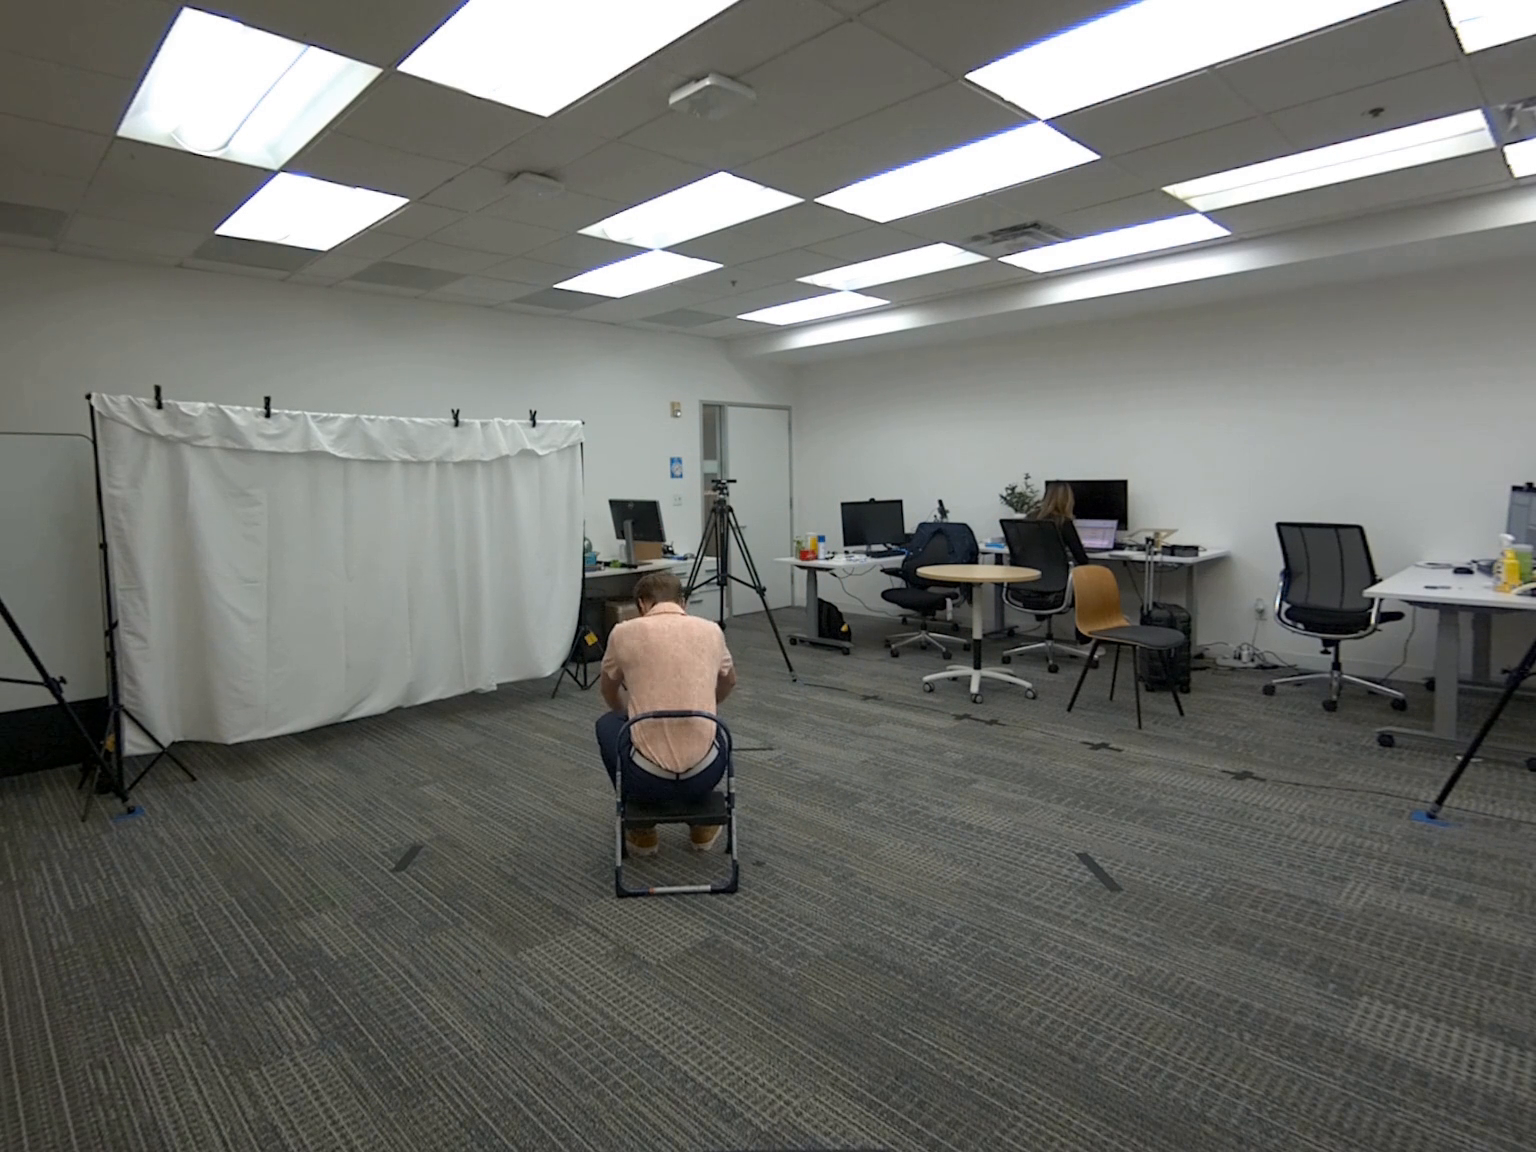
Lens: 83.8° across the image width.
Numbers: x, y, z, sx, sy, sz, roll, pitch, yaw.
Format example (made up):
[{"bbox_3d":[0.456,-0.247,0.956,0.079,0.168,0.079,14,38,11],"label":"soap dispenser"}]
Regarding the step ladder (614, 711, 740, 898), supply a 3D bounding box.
[{"bbox_3d":[-0.329,0.764,3.024,0.429,0.604,0.352,-1,4,-5],"label":"step ladder"}]
